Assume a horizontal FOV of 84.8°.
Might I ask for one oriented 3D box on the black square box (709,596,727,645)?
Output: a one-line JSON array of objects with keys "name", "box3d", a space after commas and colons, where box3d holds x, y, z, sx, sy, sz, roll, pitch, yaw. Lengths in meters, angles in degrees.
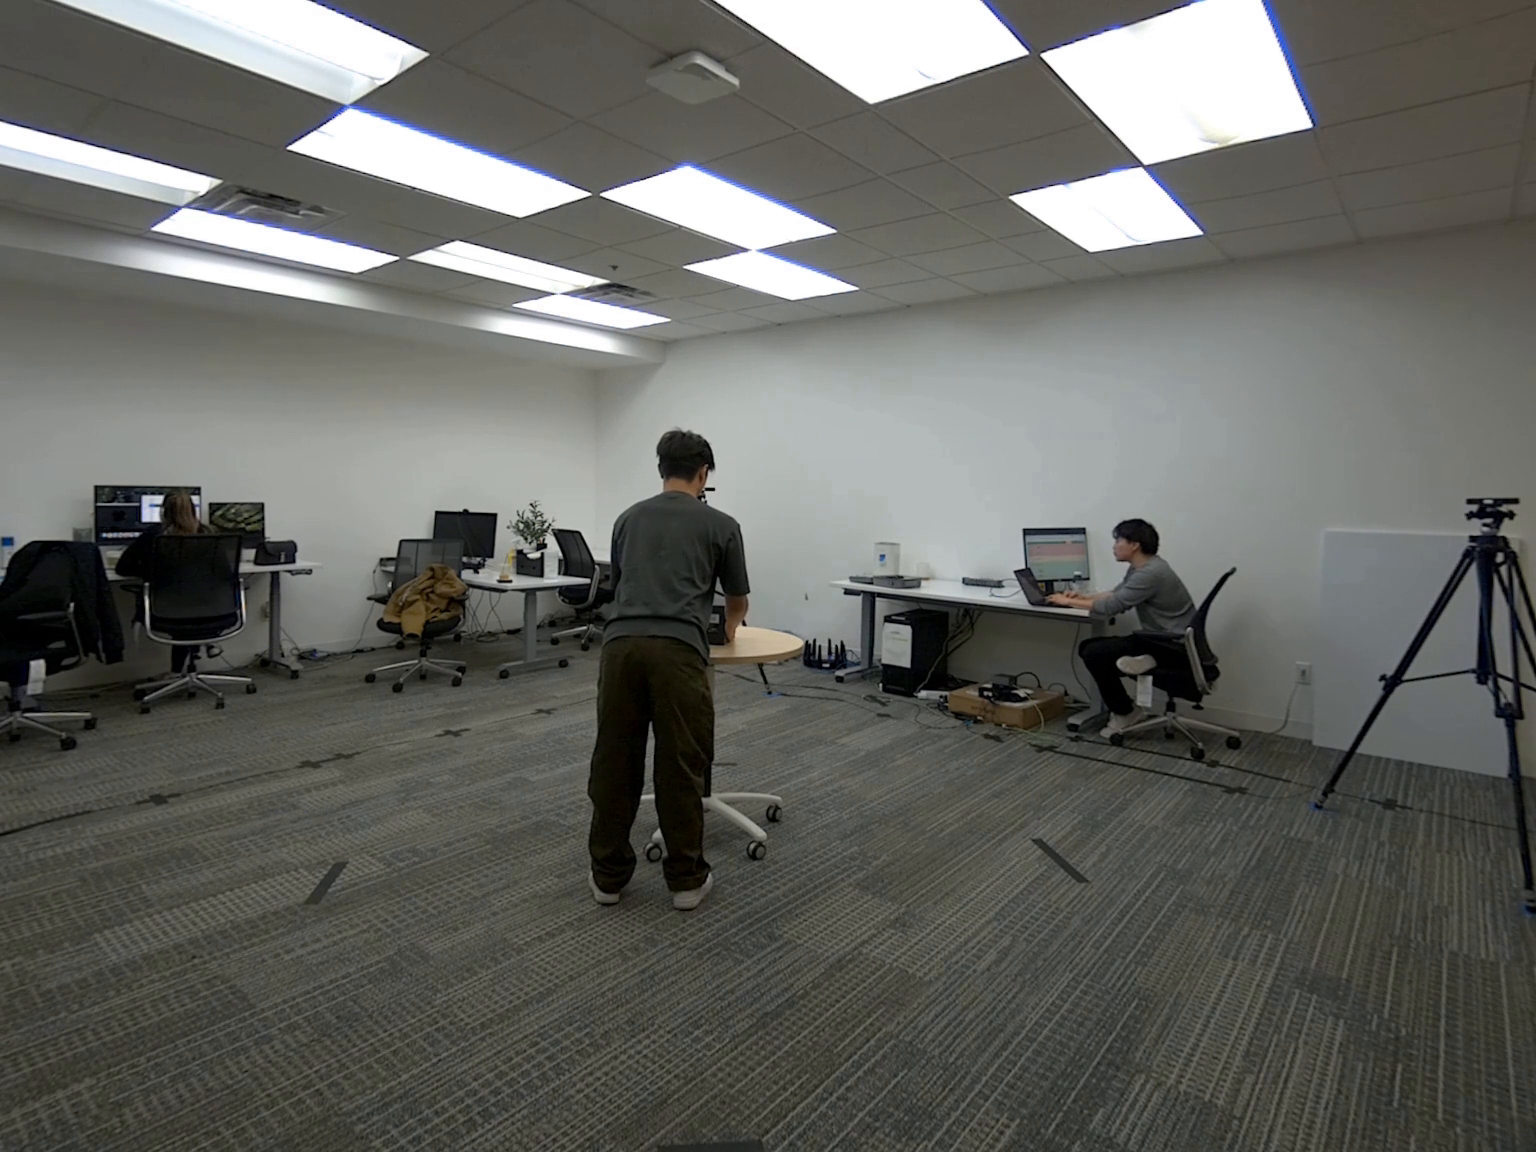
[{"name": "black square box", "box3d": [-0.260, 0.171, 3.410, 0.220, 0.155, 0.226, 2, 5, 10]}]
